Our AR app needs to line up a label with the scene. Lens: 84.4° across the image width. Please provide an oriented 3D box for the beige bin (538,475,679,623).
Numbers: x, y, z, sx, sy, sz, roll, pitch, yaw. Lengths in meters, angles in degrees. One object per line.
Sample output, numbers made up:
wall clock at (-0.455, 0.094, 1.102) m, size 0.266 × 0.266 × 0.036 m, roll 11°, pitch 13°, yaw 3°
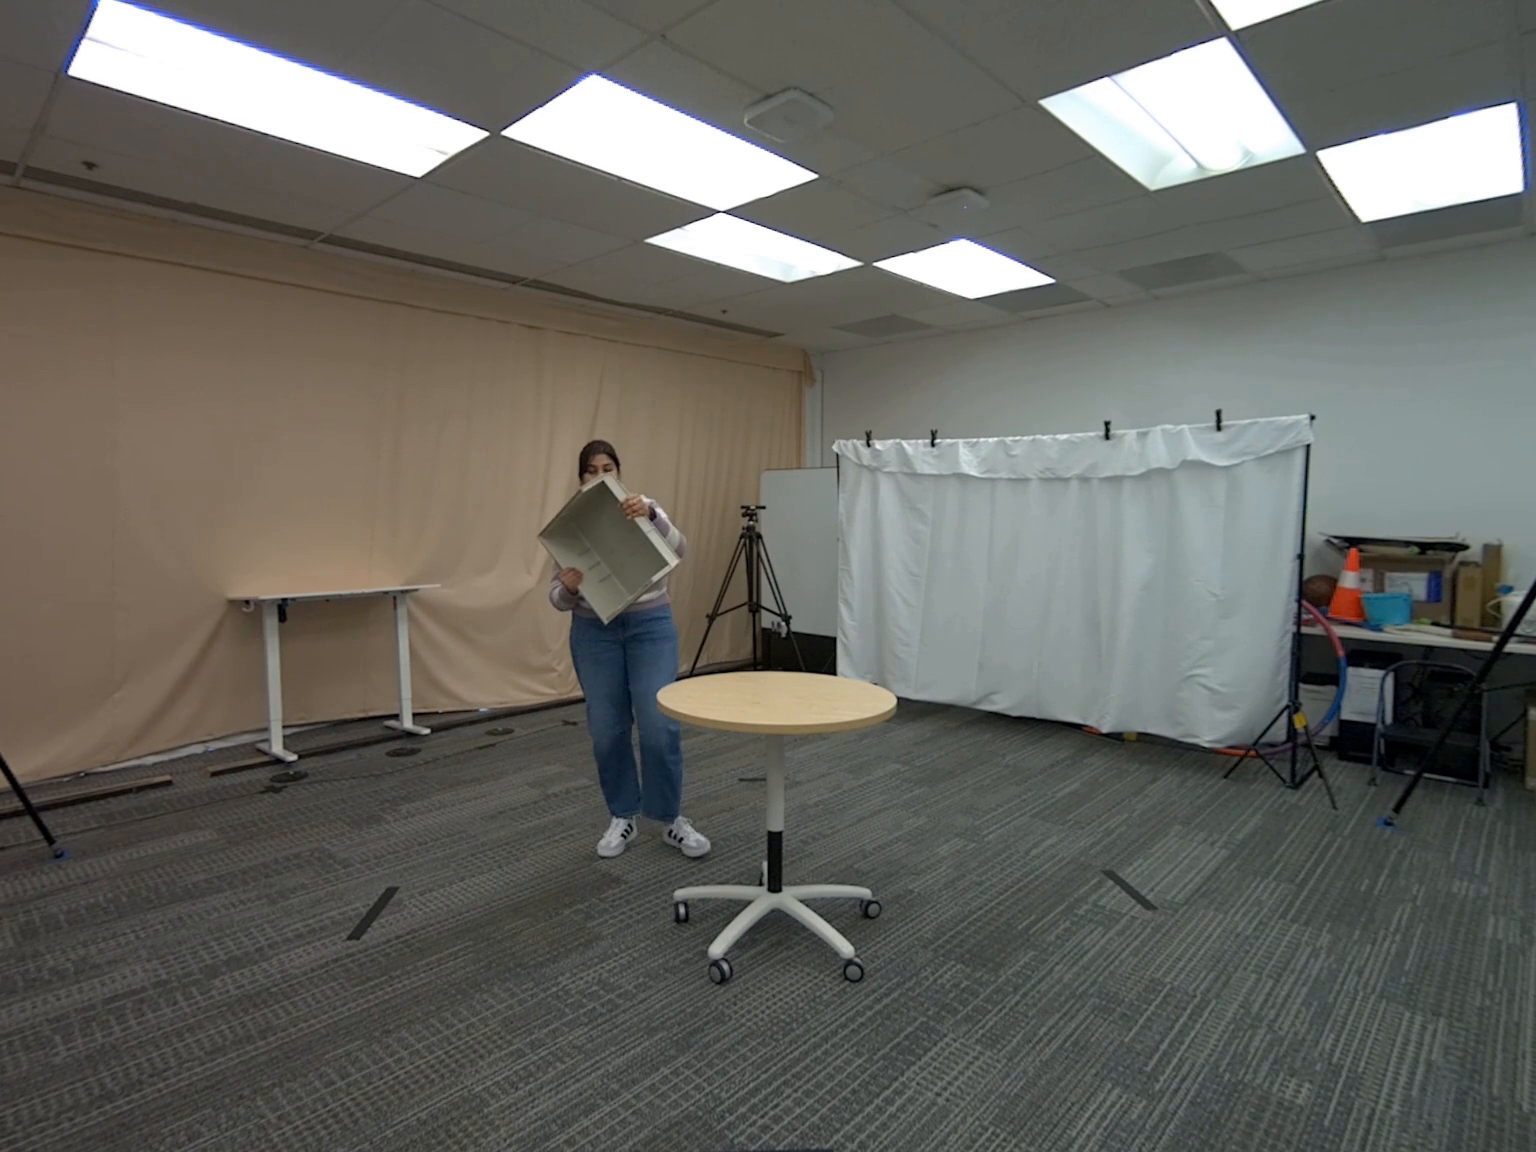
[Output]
beige bin at (-0.570, -0.103, 3.083) m, size 0.382 × 0.423 × 0.186 m, roll -39°, pitch 0°, yaw 40°
